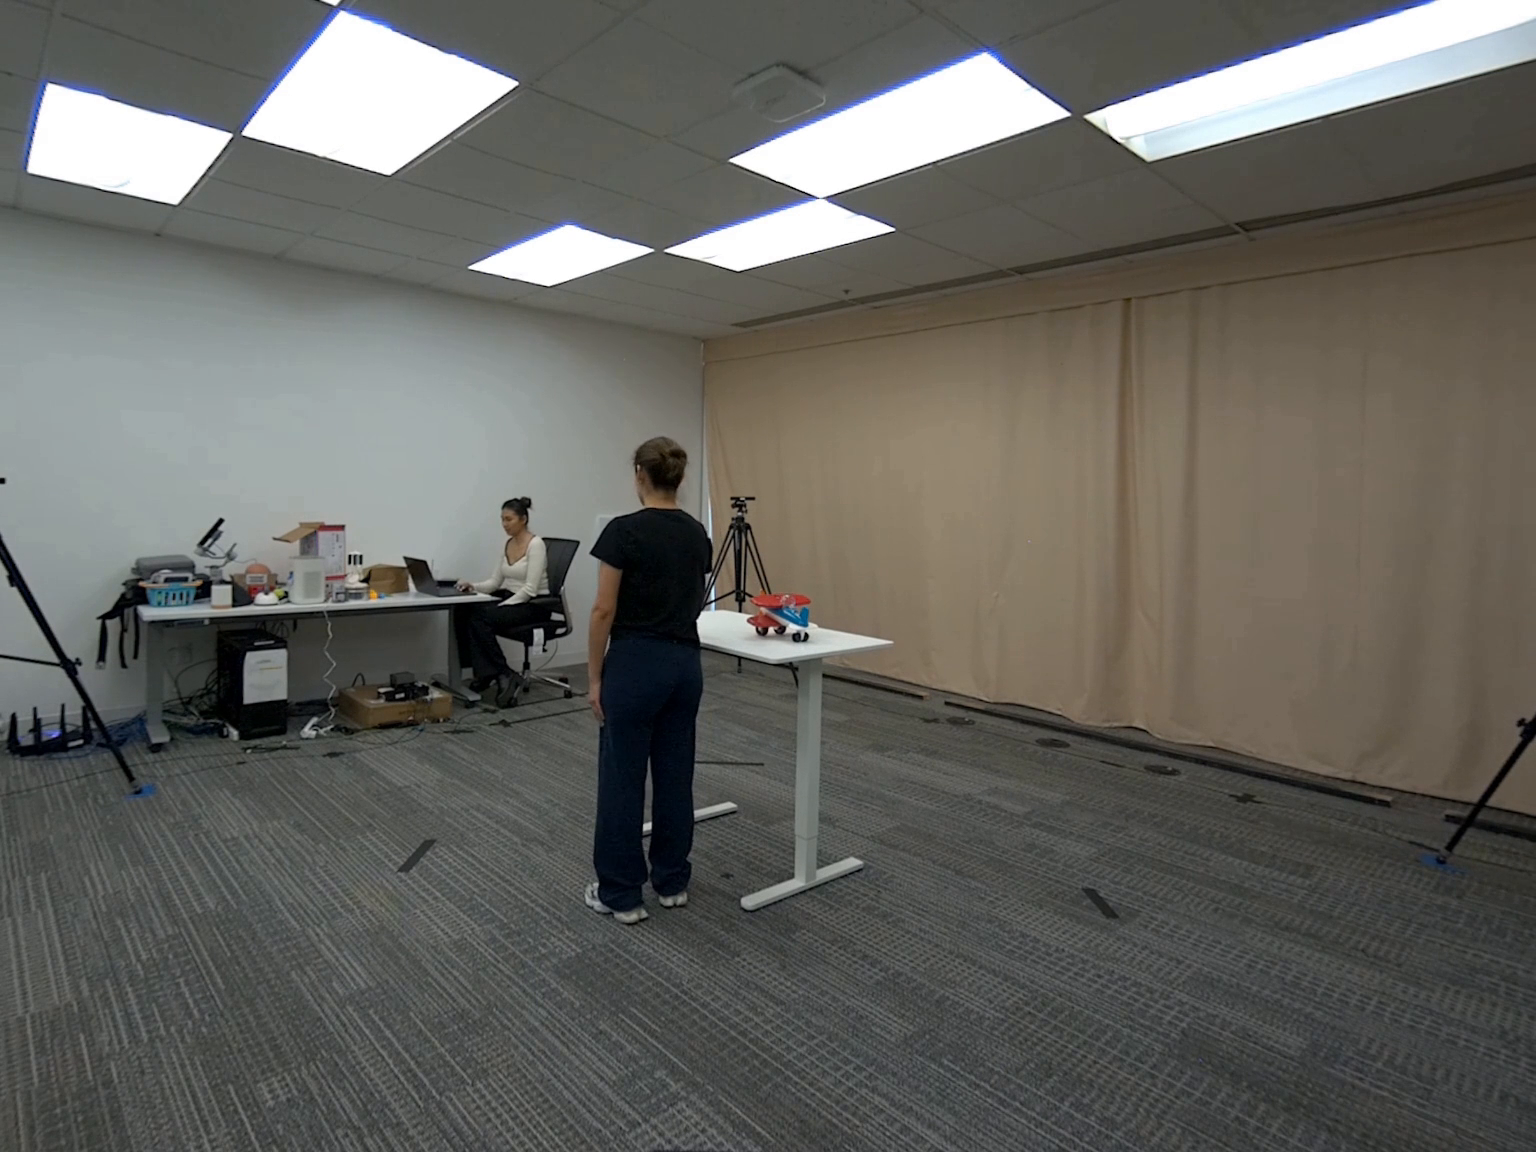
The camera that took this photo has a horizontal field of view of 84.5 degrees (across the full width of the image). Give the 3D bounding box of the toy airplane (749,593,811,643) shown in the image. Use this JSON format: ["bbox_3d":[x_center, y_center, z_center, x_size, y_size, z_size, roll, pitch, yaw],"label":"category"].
[{"bbox_3d":[0.076,0.154,3.103,0.264,0.156,0.247,3,5,26],"label":"toy airplane"}]
